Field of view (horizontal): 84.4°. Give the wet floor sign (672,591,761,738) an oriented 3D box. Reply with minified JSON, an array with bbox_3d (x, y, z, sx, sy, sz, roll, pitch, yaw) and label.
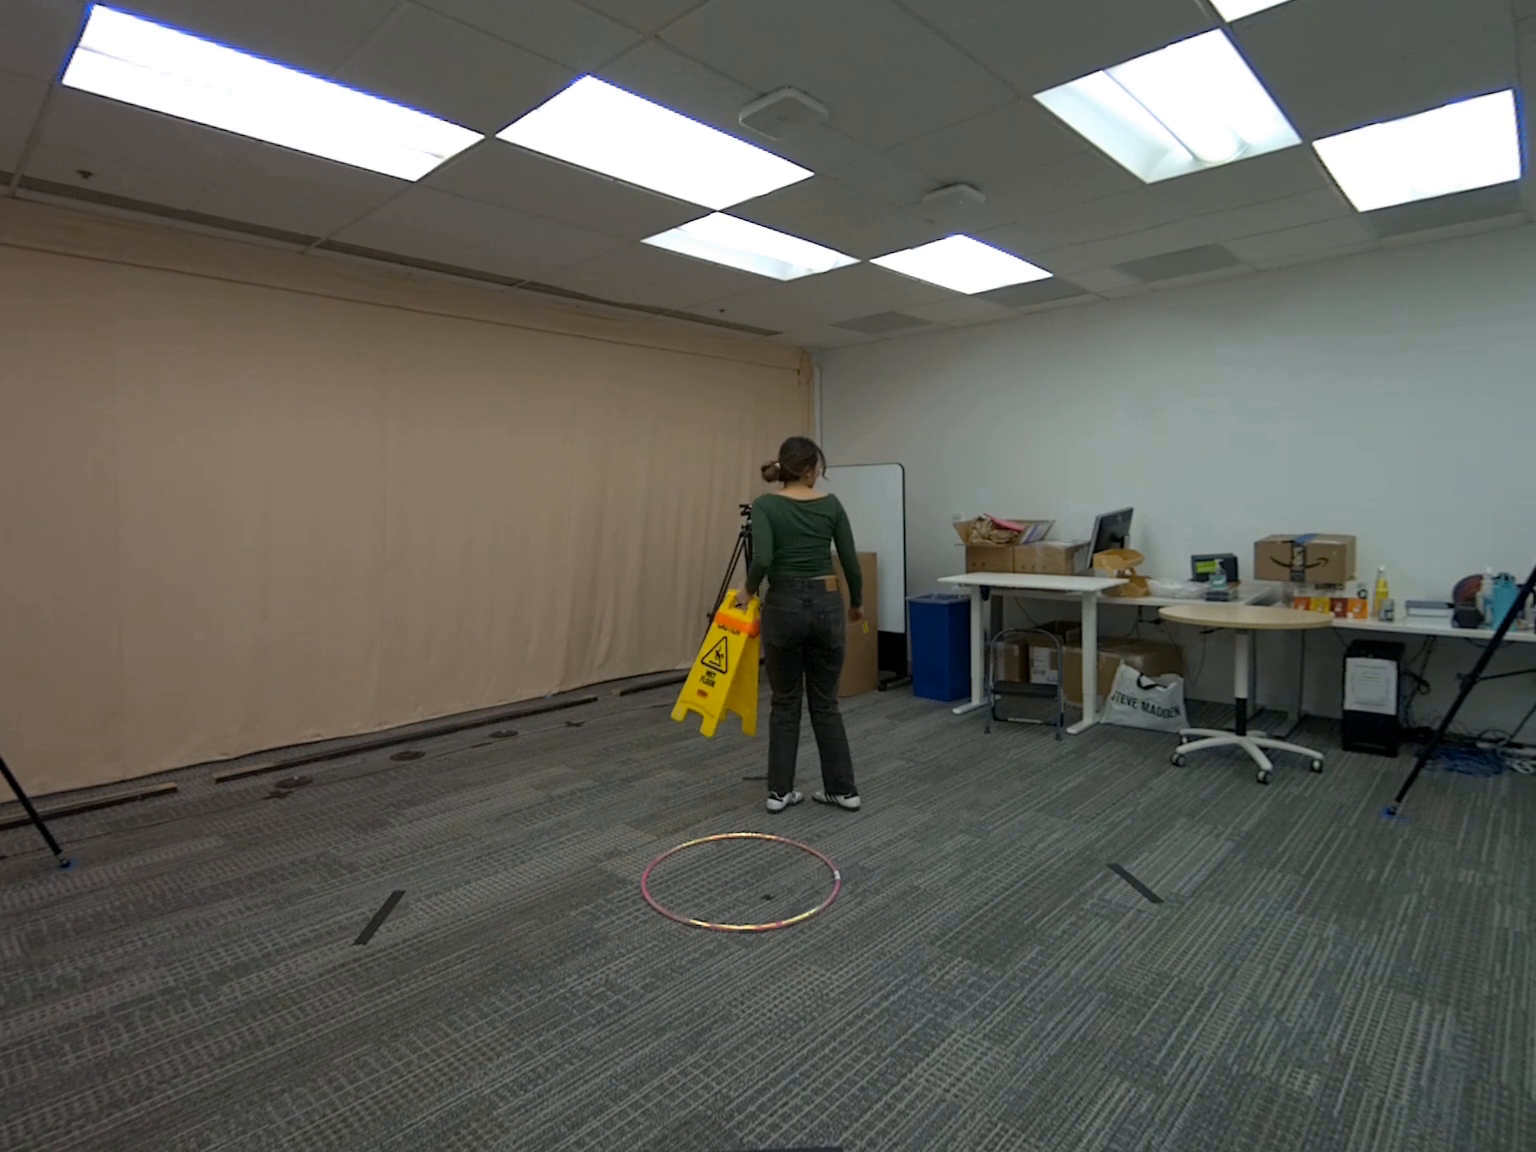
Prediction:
[{"bbox_3d":[-0.163,0.387,3.914,0.292,0.645,0.279,16,3,43],"label":"wet floor sign"}]
